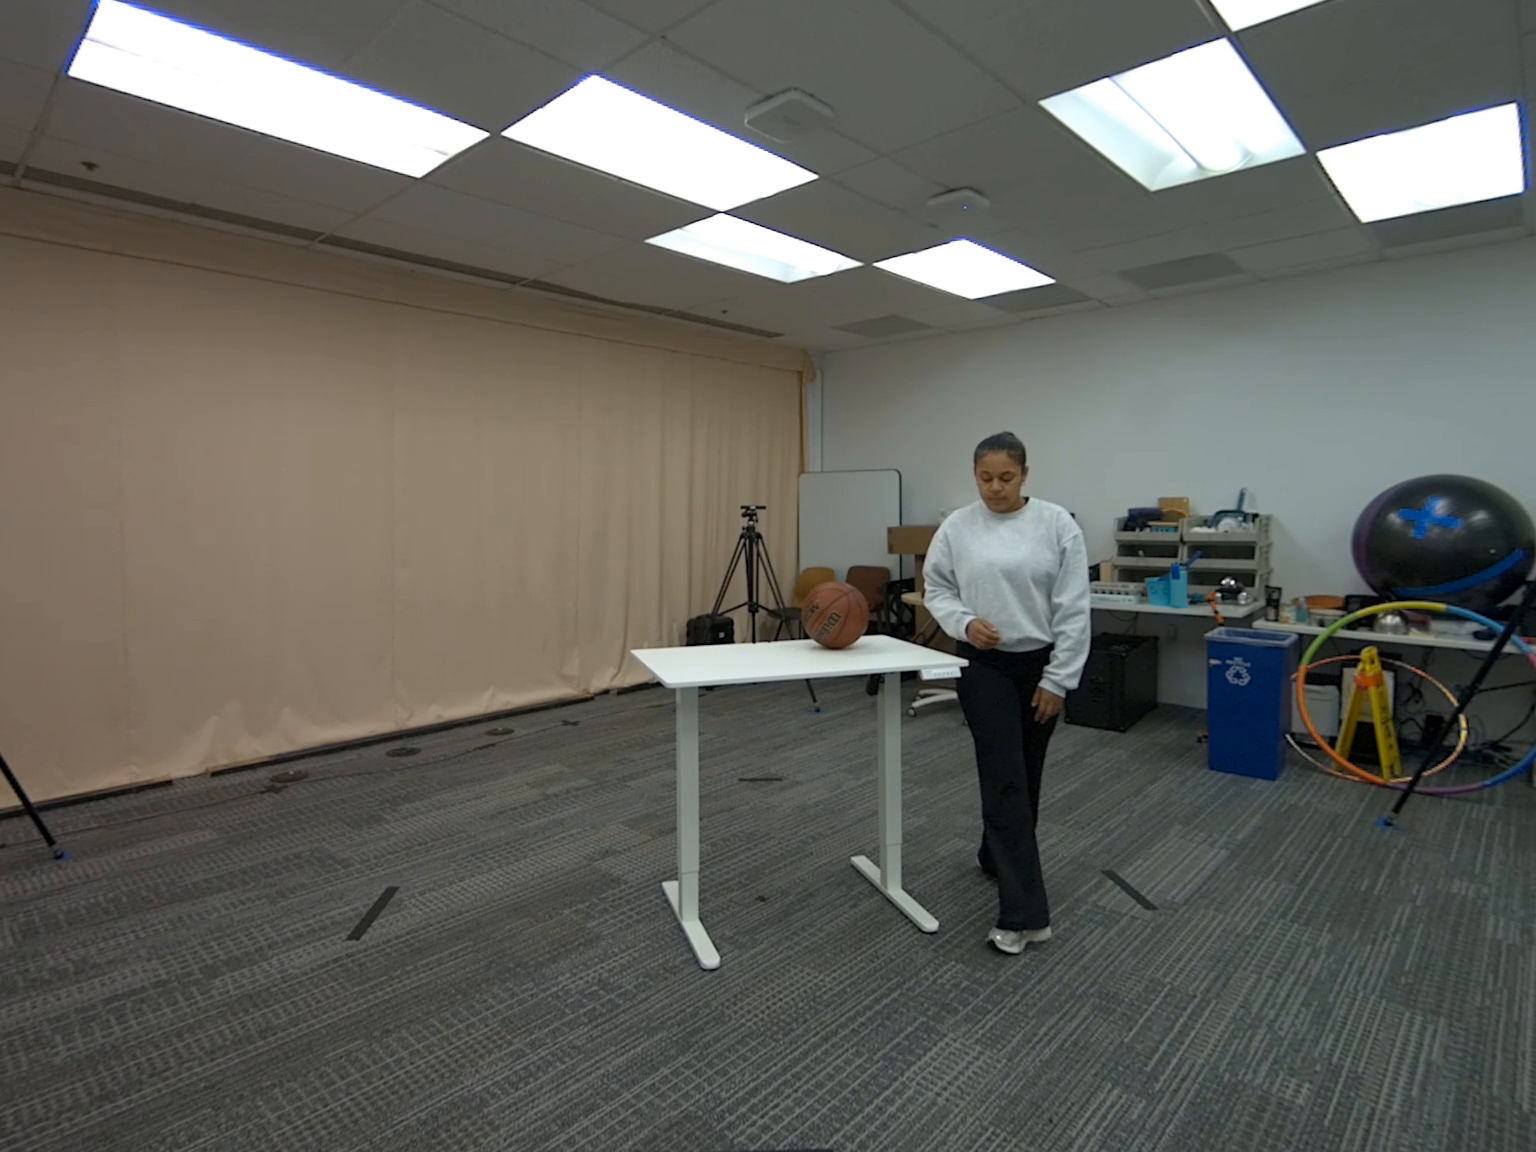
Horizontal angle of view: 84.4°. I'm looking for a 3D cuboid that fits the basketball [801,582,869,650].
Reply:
[{"bbox_3d":[0.242,0.140,3.002,0.236,0.235,0.237,0,4,-2],"label":"basketball"}]
